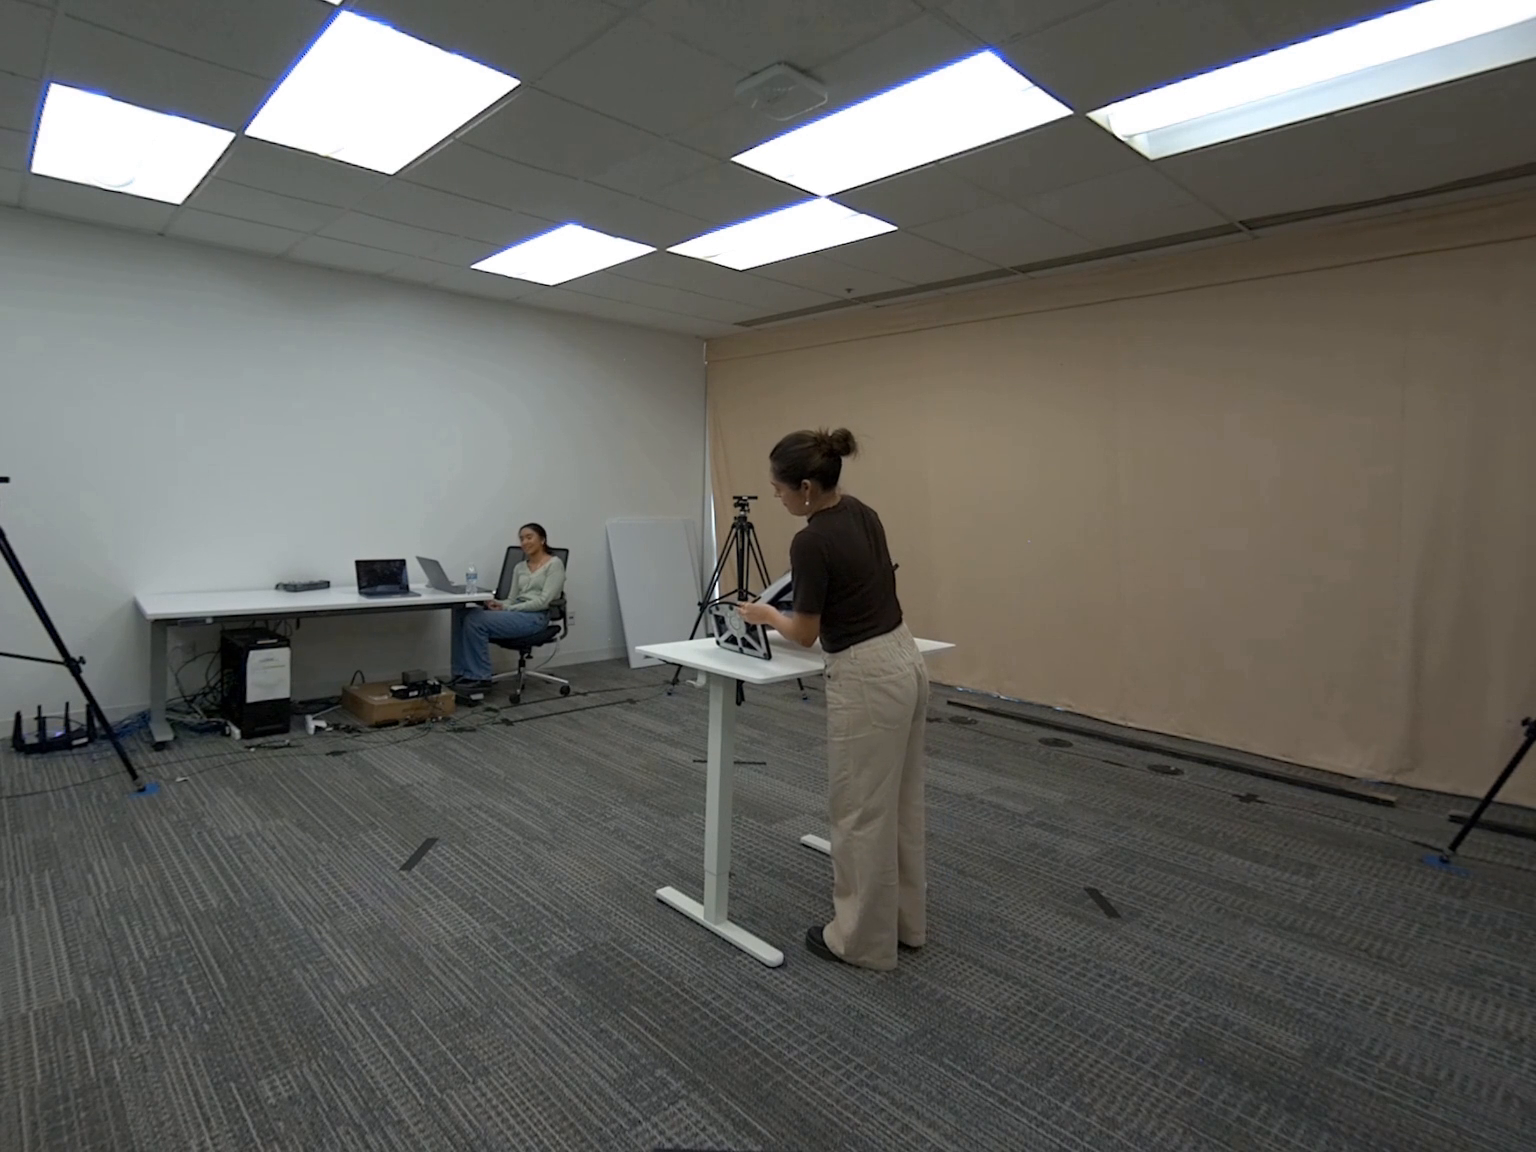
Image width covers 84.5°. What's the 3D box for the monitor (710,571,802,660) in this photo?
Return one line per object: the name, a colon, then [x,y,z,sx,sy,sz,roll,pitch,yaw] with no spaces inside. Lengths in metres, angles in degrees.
monitor: [0.082,0.080,2.846,0.517,0.184,0.552,-29,20,-32]
